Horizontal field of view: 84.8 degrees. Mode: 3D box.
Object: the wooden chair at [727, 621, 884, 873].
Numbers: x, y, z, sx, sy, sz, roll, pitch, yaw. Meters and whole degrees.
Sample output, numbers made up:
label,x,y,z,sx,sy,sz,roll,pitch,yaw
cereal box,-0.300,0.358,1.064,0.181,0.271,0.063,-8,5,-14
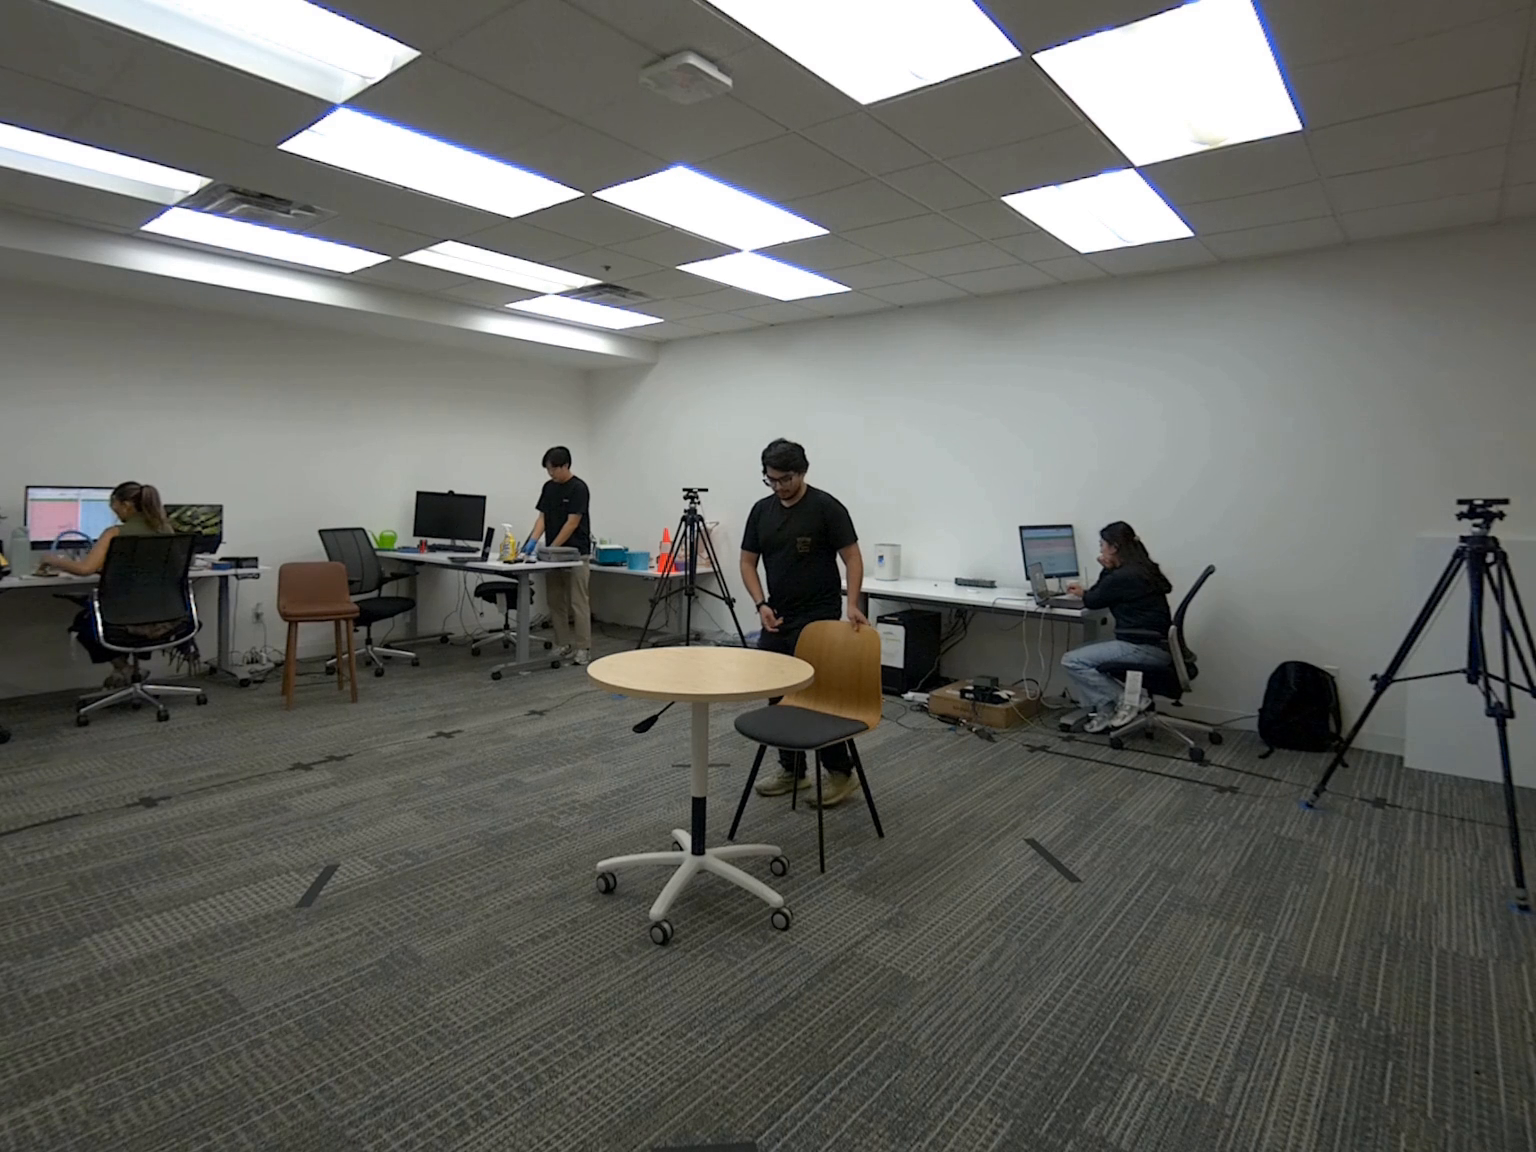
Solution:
label,x,y,z,sx,sy,sz,roll,pitch,yaw
wooden chair,0.154,0.622,3.375,0.494,0.877,0.506,5,0,38
